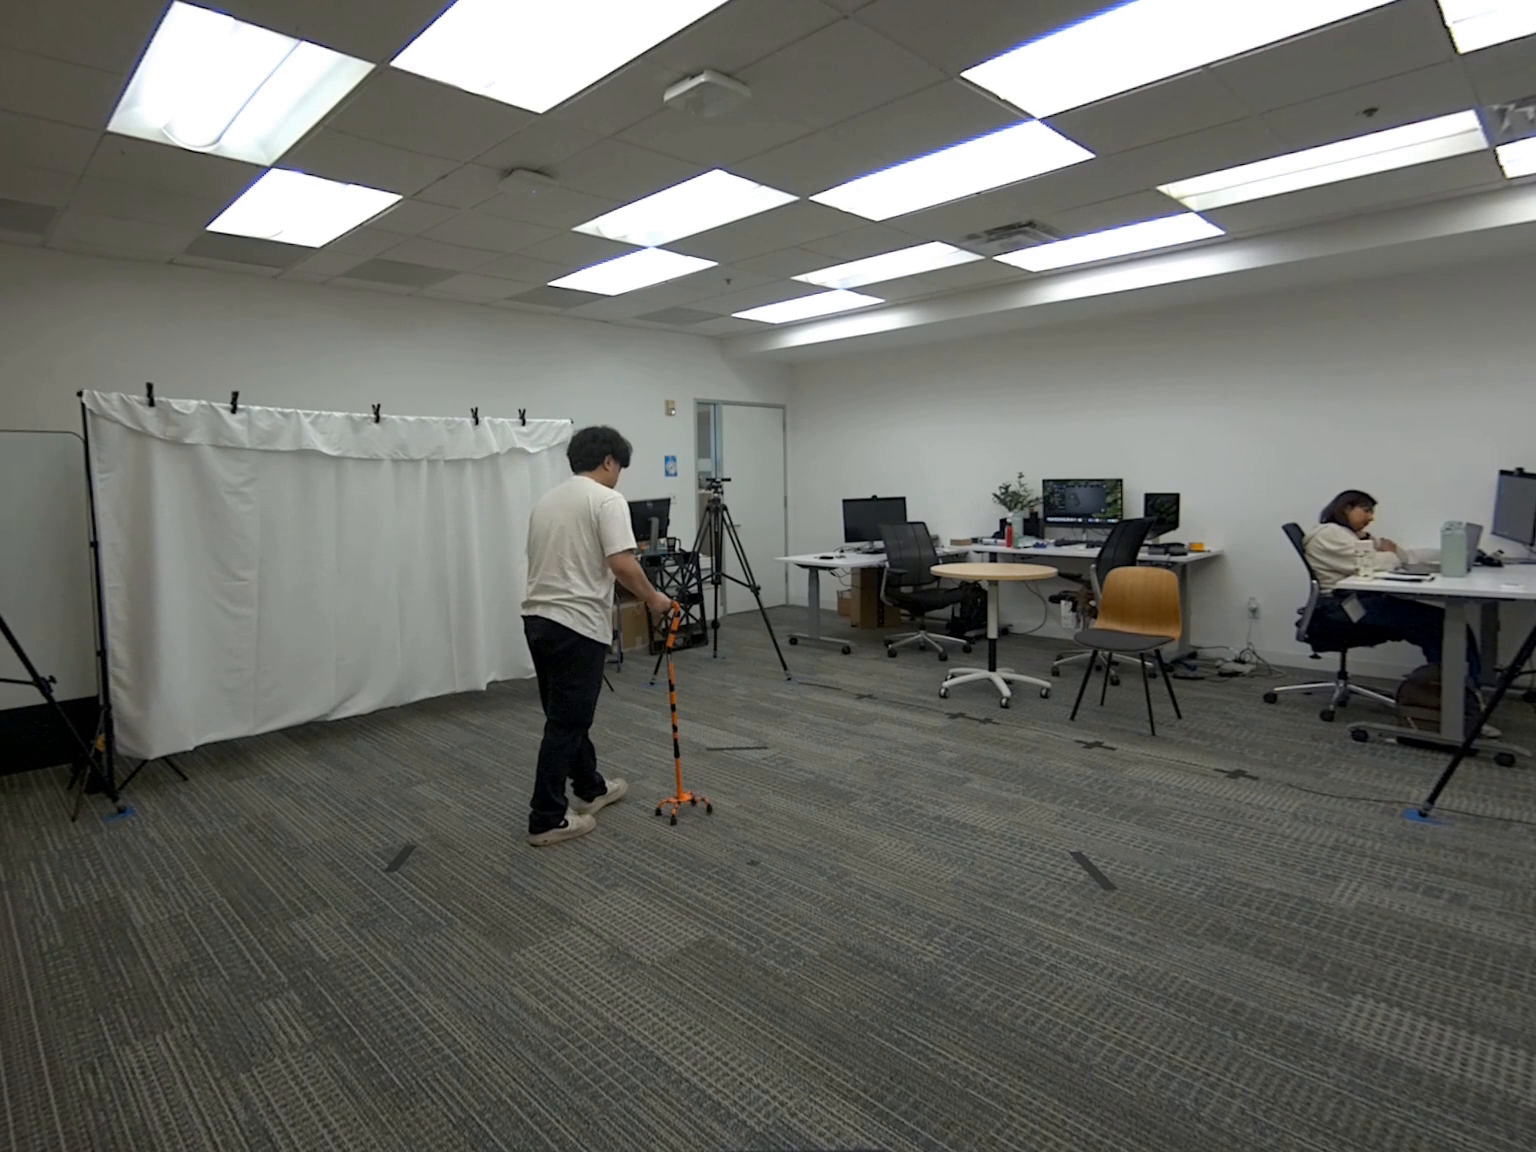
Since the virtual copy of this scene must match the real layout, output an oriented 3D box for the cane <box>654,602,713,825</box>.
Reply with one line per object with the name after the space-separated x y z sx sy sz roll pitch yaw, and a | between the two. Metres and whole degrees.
-0.379 0.542 3.524 0.201 0.903 0.156 -7 7 -35 | cane
